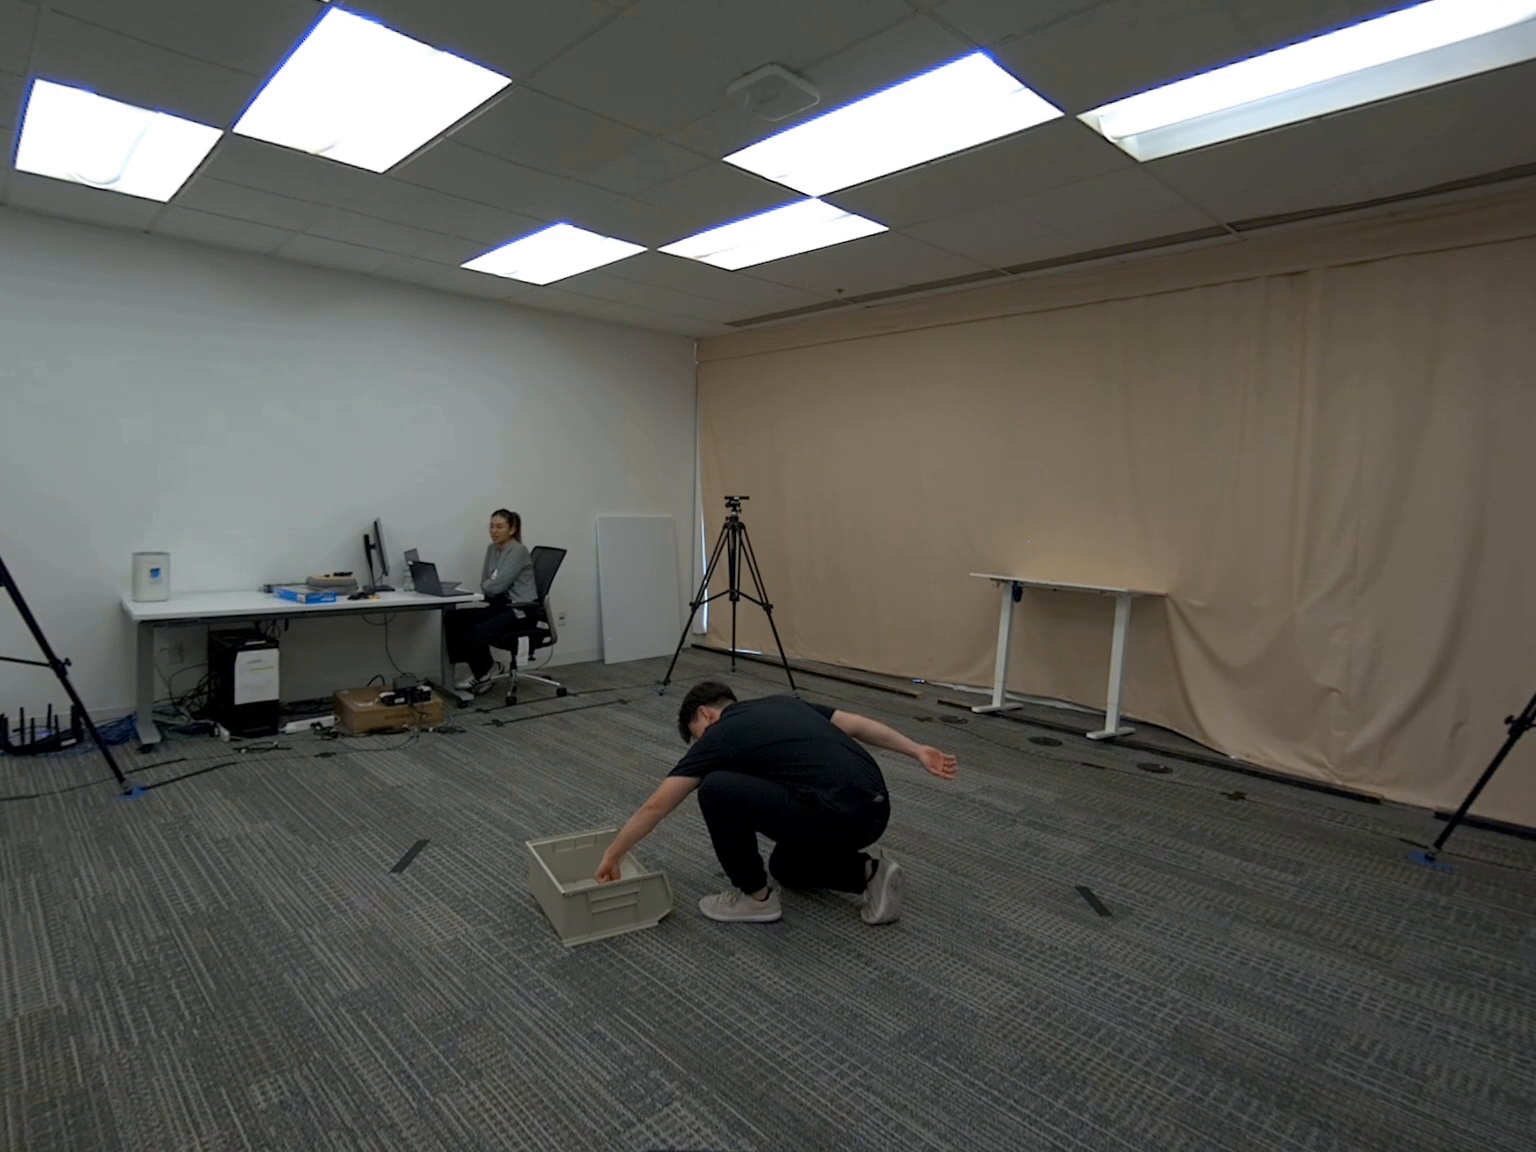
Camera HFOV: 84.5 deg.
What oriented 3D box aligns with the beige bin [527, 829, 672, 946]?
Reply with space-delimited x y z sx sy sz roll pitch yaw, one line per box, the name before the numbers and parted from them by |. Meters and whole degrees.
beige bin | -0.575 1.025 2.839 0.370 0.188 0.432 -2 7 -30
